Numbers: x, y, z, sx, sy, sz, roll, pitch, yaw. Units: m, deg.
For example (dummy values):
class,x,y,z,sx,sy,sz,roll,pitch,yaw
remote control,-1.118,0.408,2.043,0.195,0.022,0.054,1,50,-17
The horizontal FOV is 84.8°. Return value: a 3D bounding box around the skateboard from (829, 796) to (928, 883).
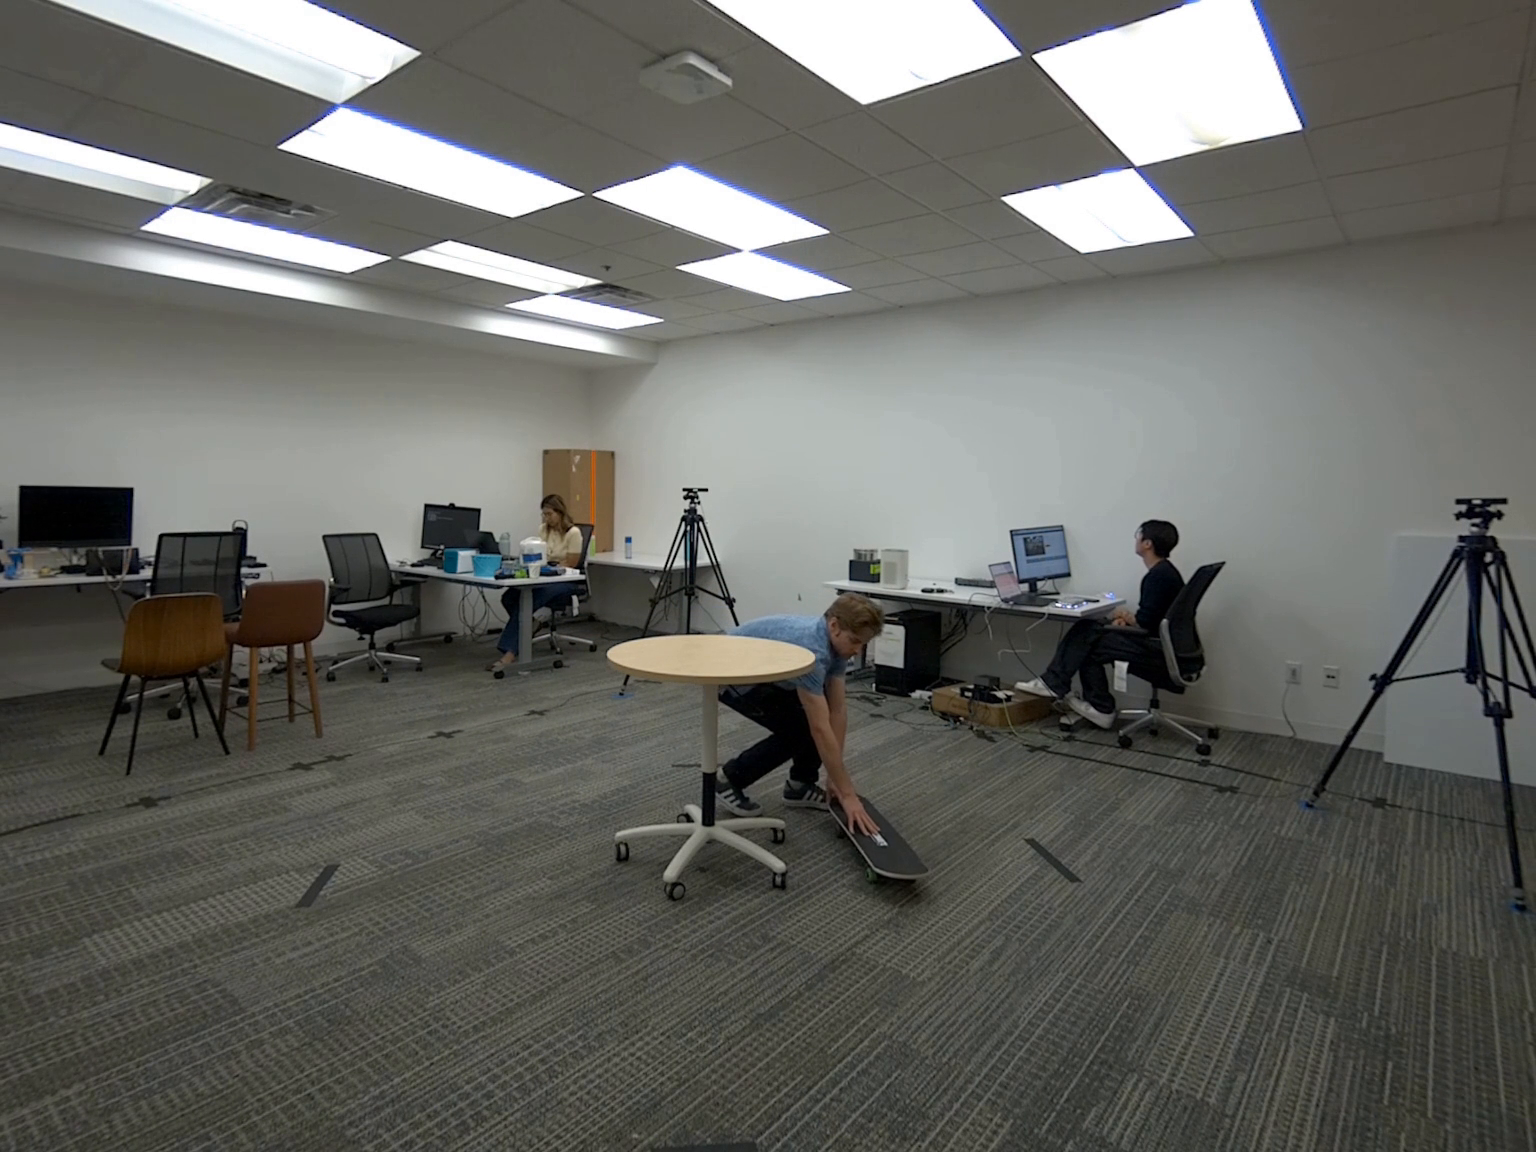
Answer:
class,x,y,z,sx,sy,sz,roll,pitch,yaw
skateboard,0.390,1.007,3.244,0.191,0.110,0.796,0,6,-11
